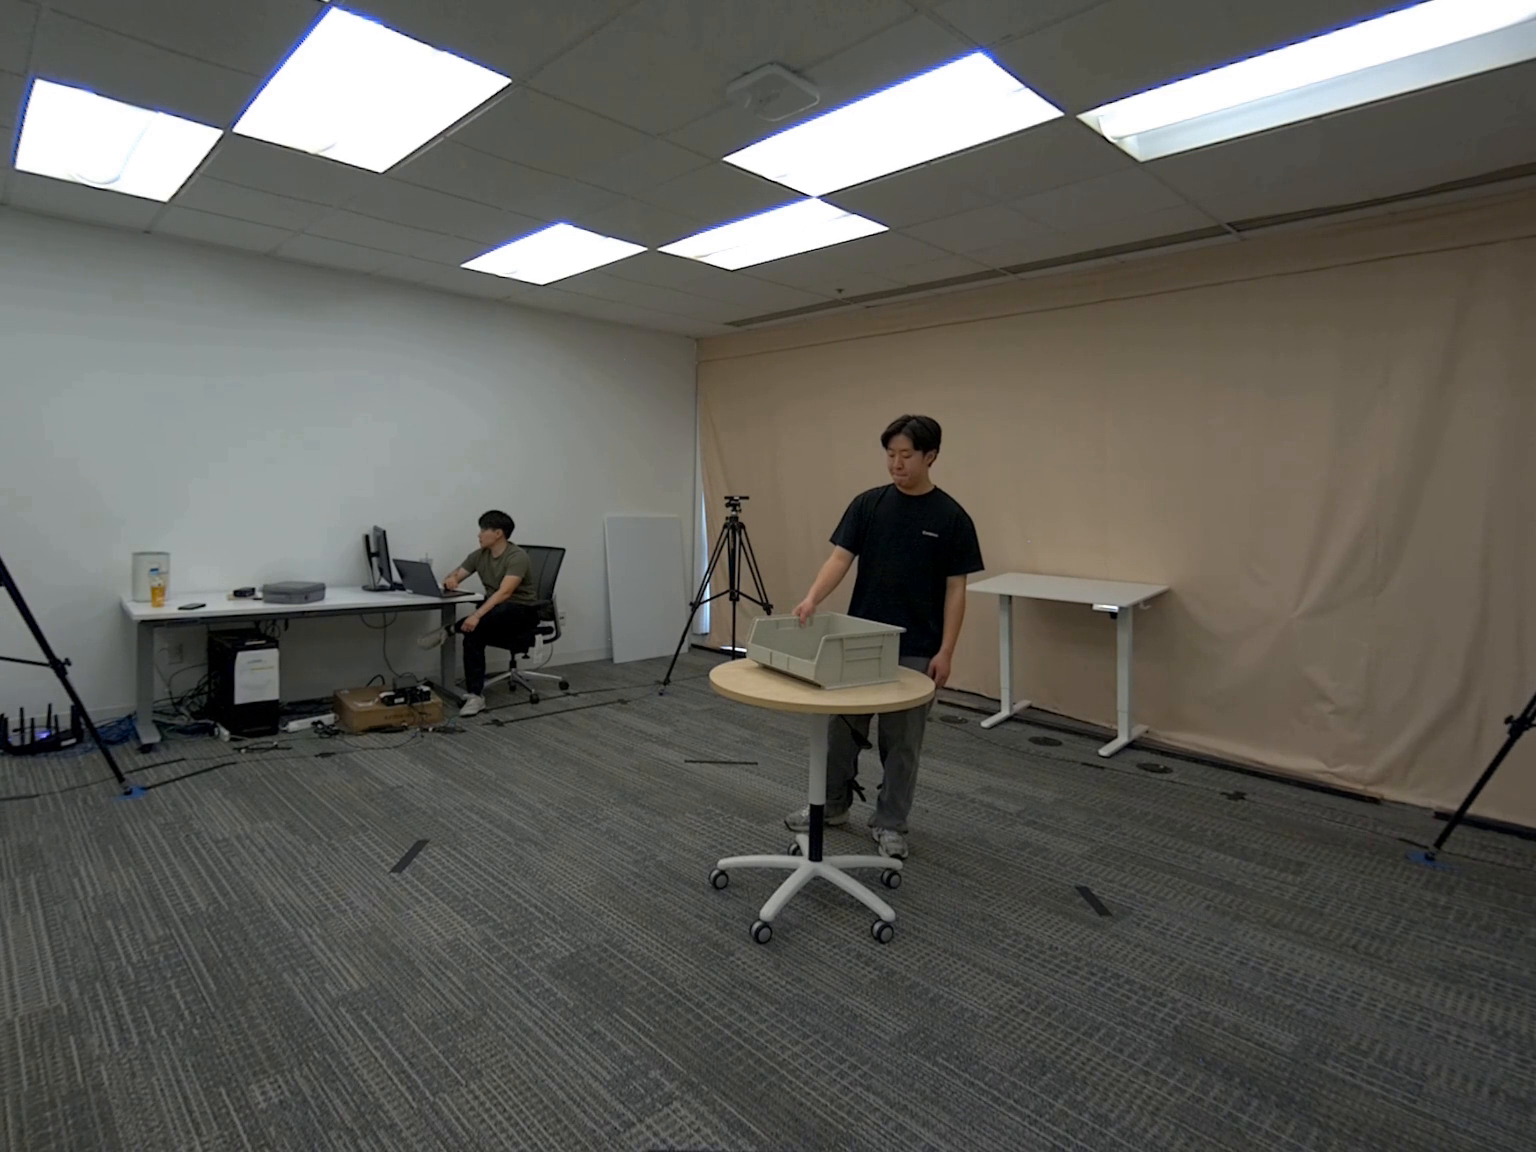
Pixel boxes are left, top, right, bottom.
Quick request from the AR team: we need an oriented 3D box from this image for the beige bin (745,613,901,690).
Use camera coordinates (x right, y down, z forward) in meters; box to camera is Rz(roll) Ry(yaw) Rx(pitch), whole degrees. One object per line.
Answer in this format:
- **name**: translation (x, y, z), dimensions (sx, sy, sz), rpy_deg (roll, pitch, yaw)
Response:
- **beige bin**: translation (0.190, 0.253, 2.935), dimensions (0.369, 0.188, 0.432), rpy_deg (-1, 5, -33)
